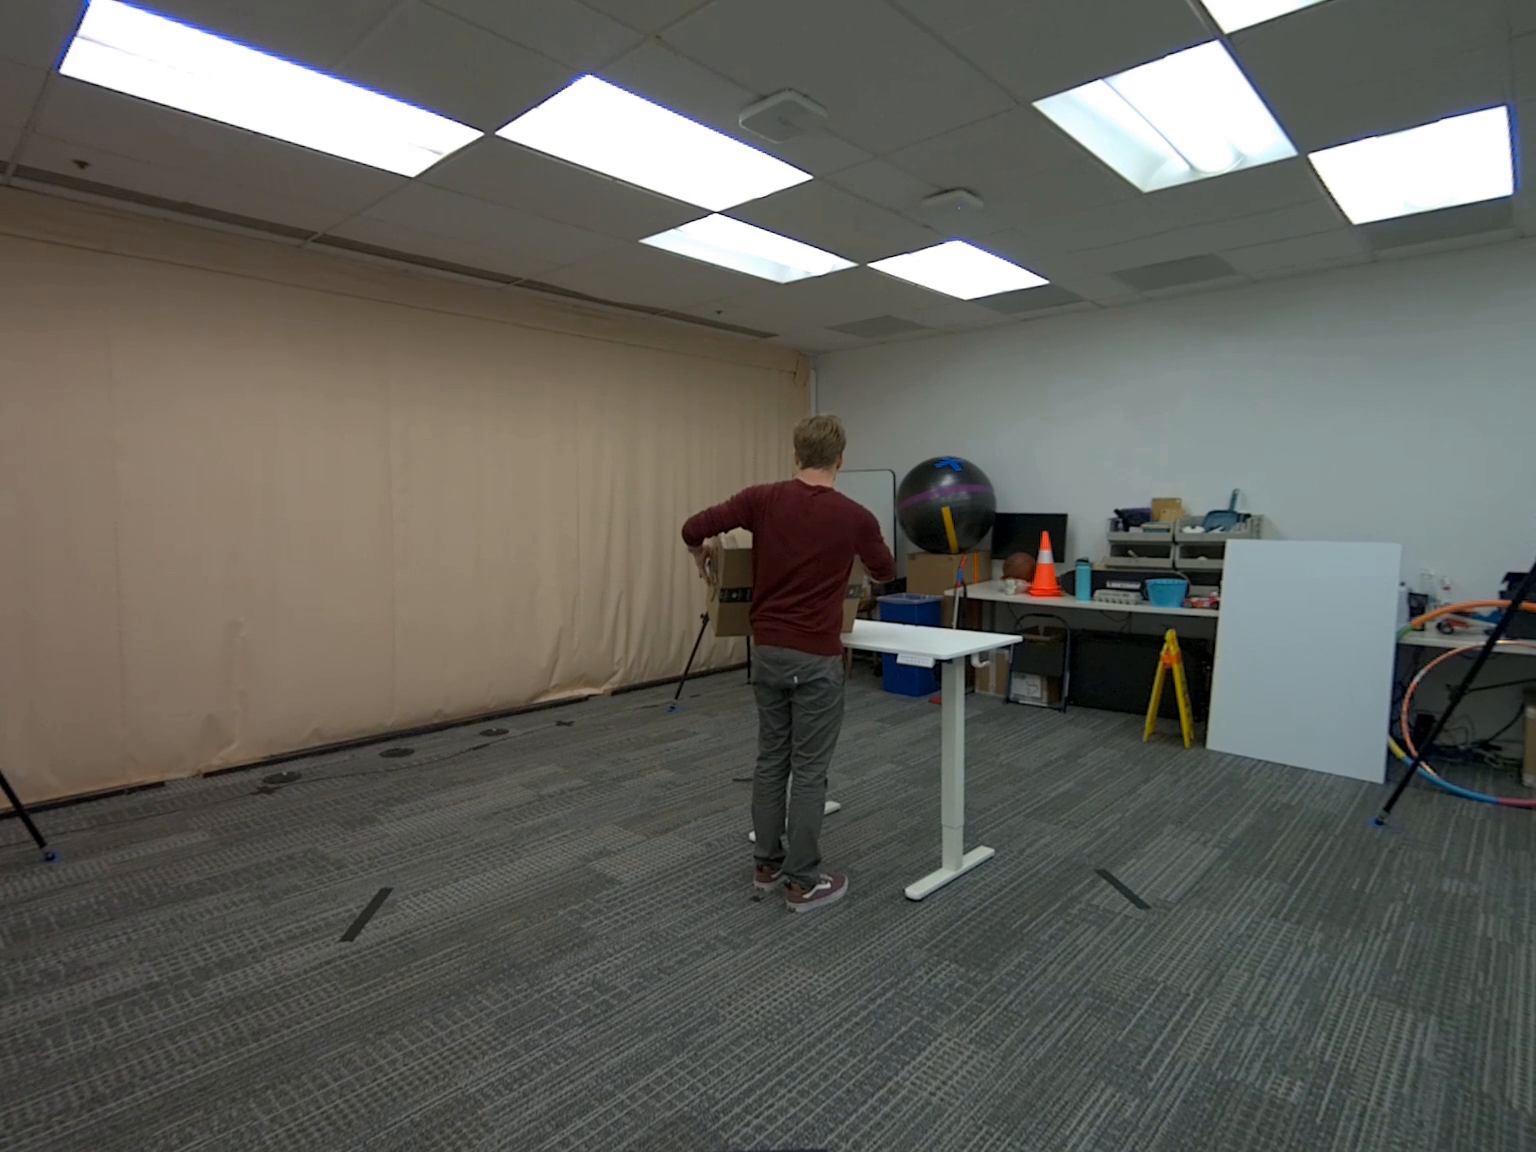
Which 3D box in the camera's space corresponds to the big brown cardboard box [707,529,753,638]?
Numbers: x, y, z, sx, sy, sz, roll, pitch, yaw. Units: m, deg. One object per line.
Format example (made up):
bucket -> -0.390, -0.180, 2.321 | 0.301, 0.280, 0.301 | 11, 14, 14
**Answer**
big brown cardboard box -> 0.064, 0.003, 3.296 | 0.582, 0.412, 0.239 | 0, 34, -11
